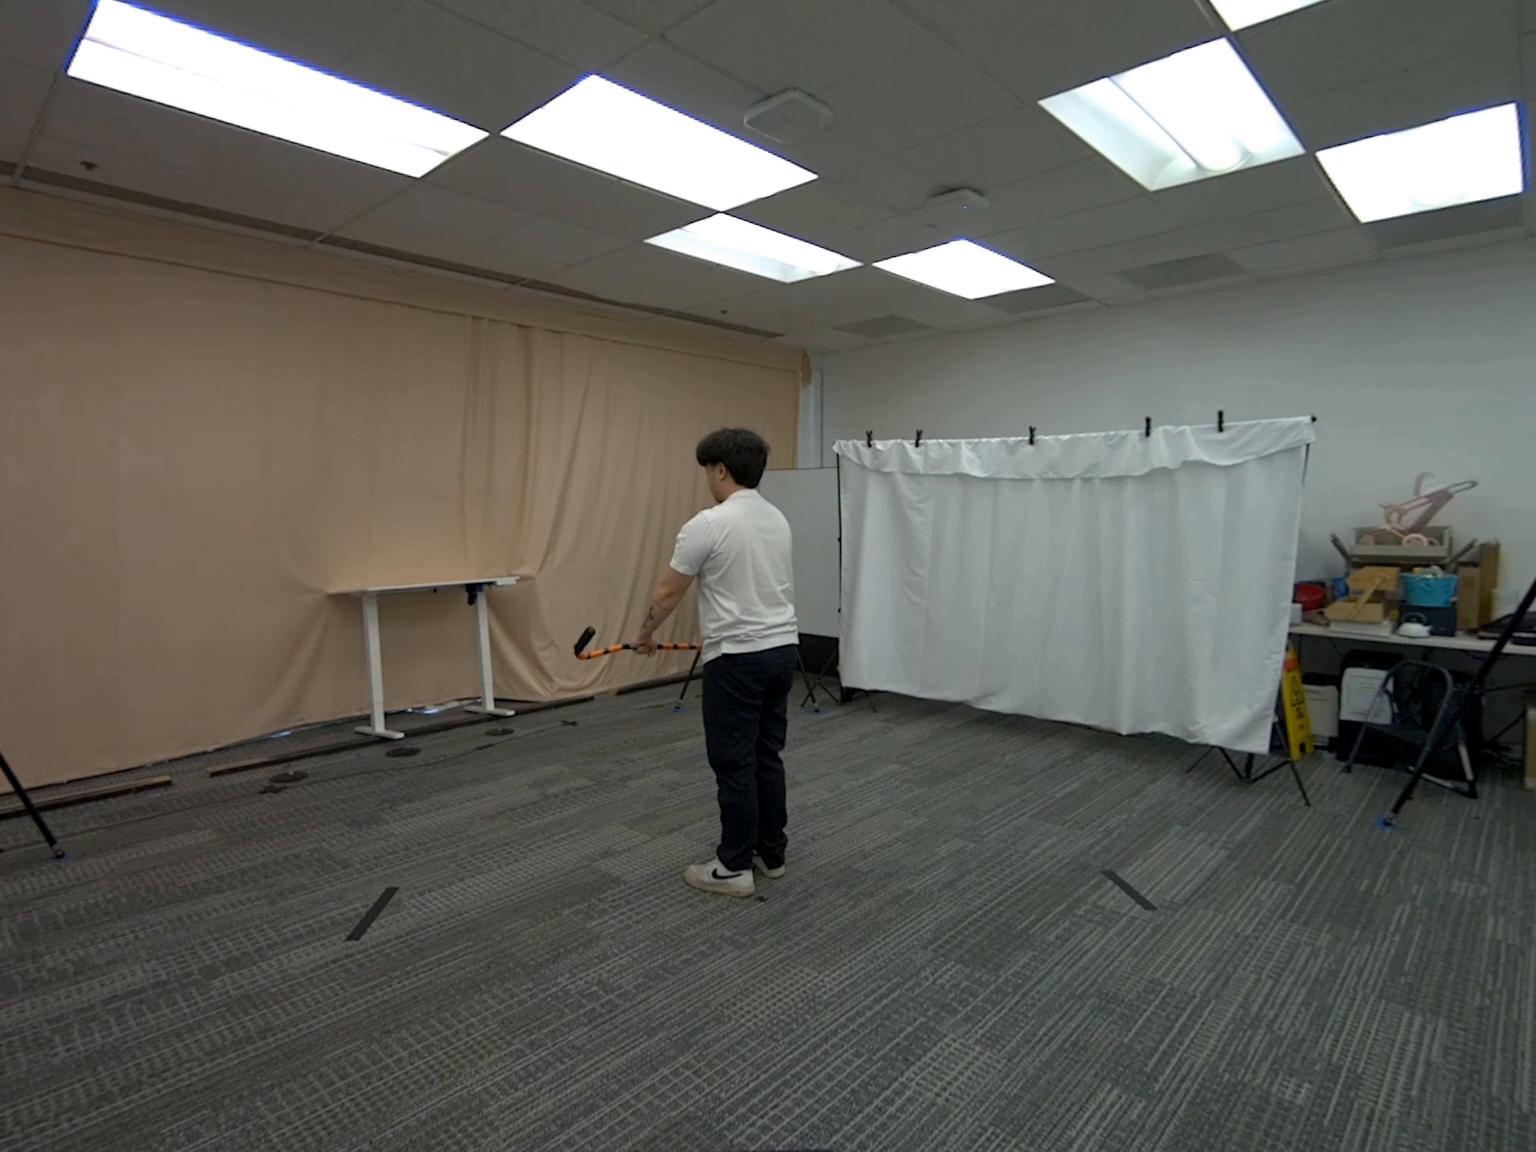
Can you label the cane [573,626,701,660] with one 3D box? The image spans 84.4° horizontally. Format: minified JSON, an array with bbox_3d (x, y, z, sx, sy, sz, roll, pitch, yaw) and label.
[{"bbox_3d":[-0.387,0.280,3.325,0.878,0.156,0.207,4,-45,-44],"label":"cane"}]
